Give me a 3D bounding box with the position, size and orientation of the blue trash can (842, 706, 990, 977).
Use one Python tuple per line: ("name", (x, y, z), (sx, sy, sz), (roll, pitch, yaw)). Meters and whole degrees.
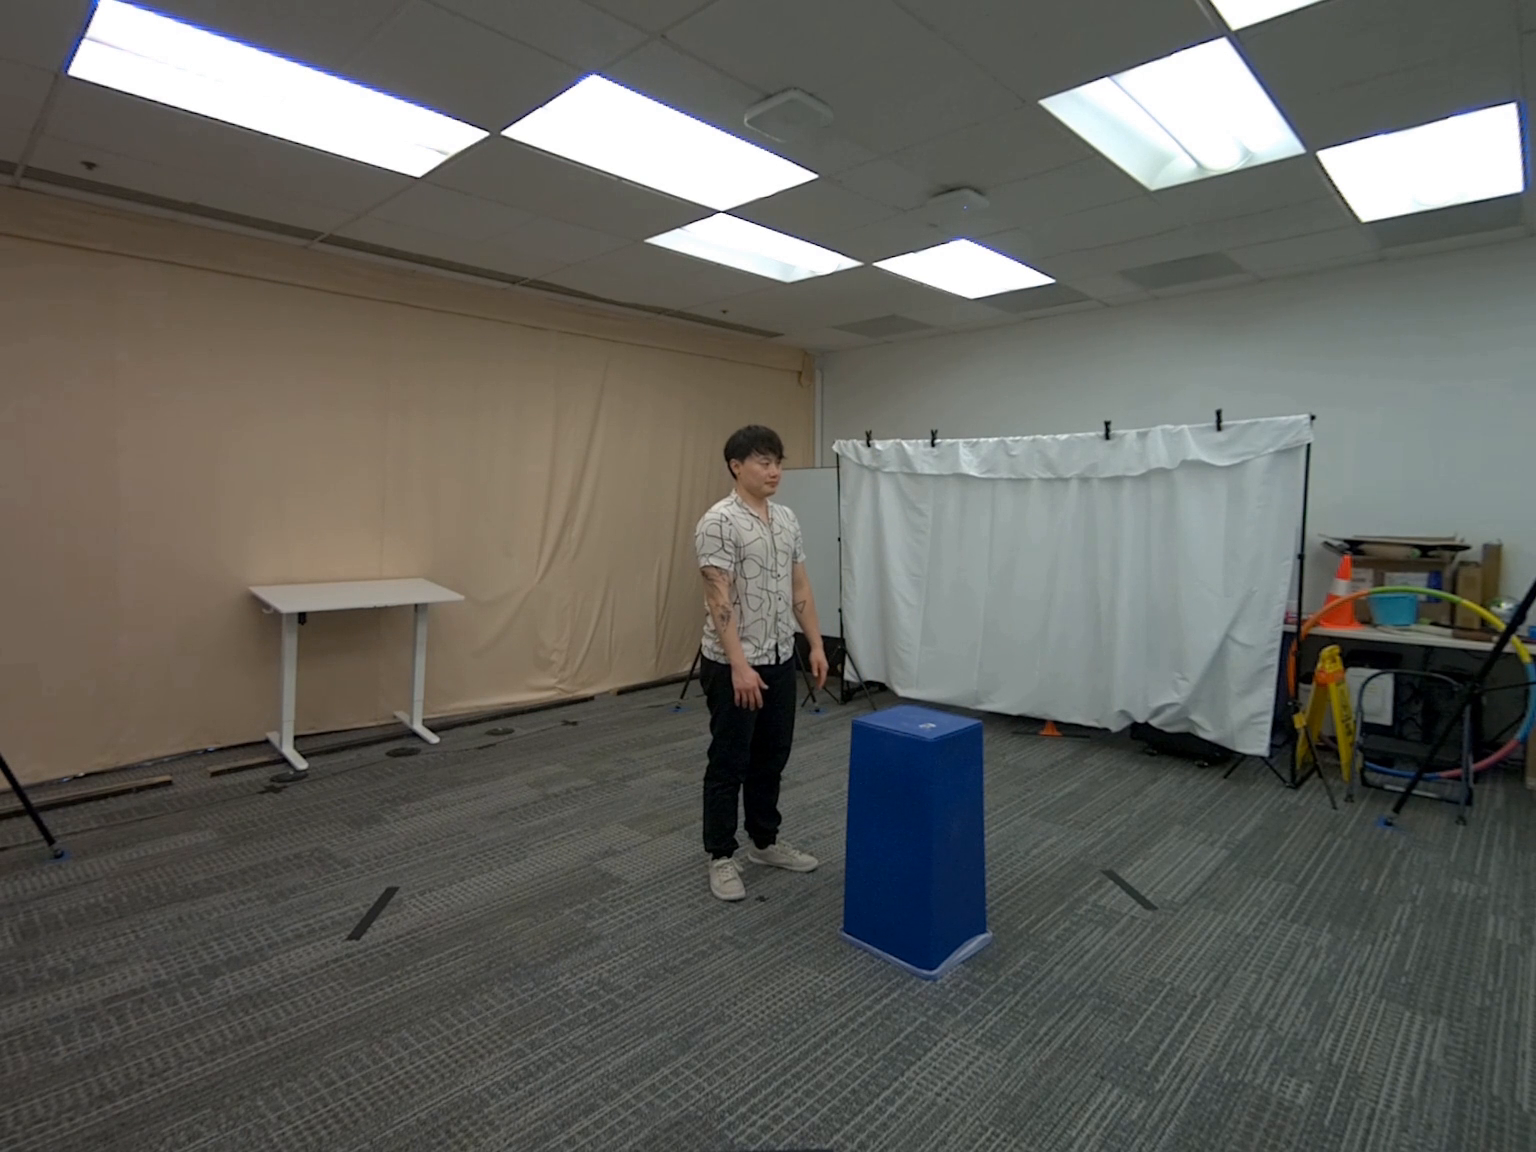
("blue trash can", (0.486, 0.809, 2.694), (0.362, 0.712, 0.391), (-3, 5, -44))
